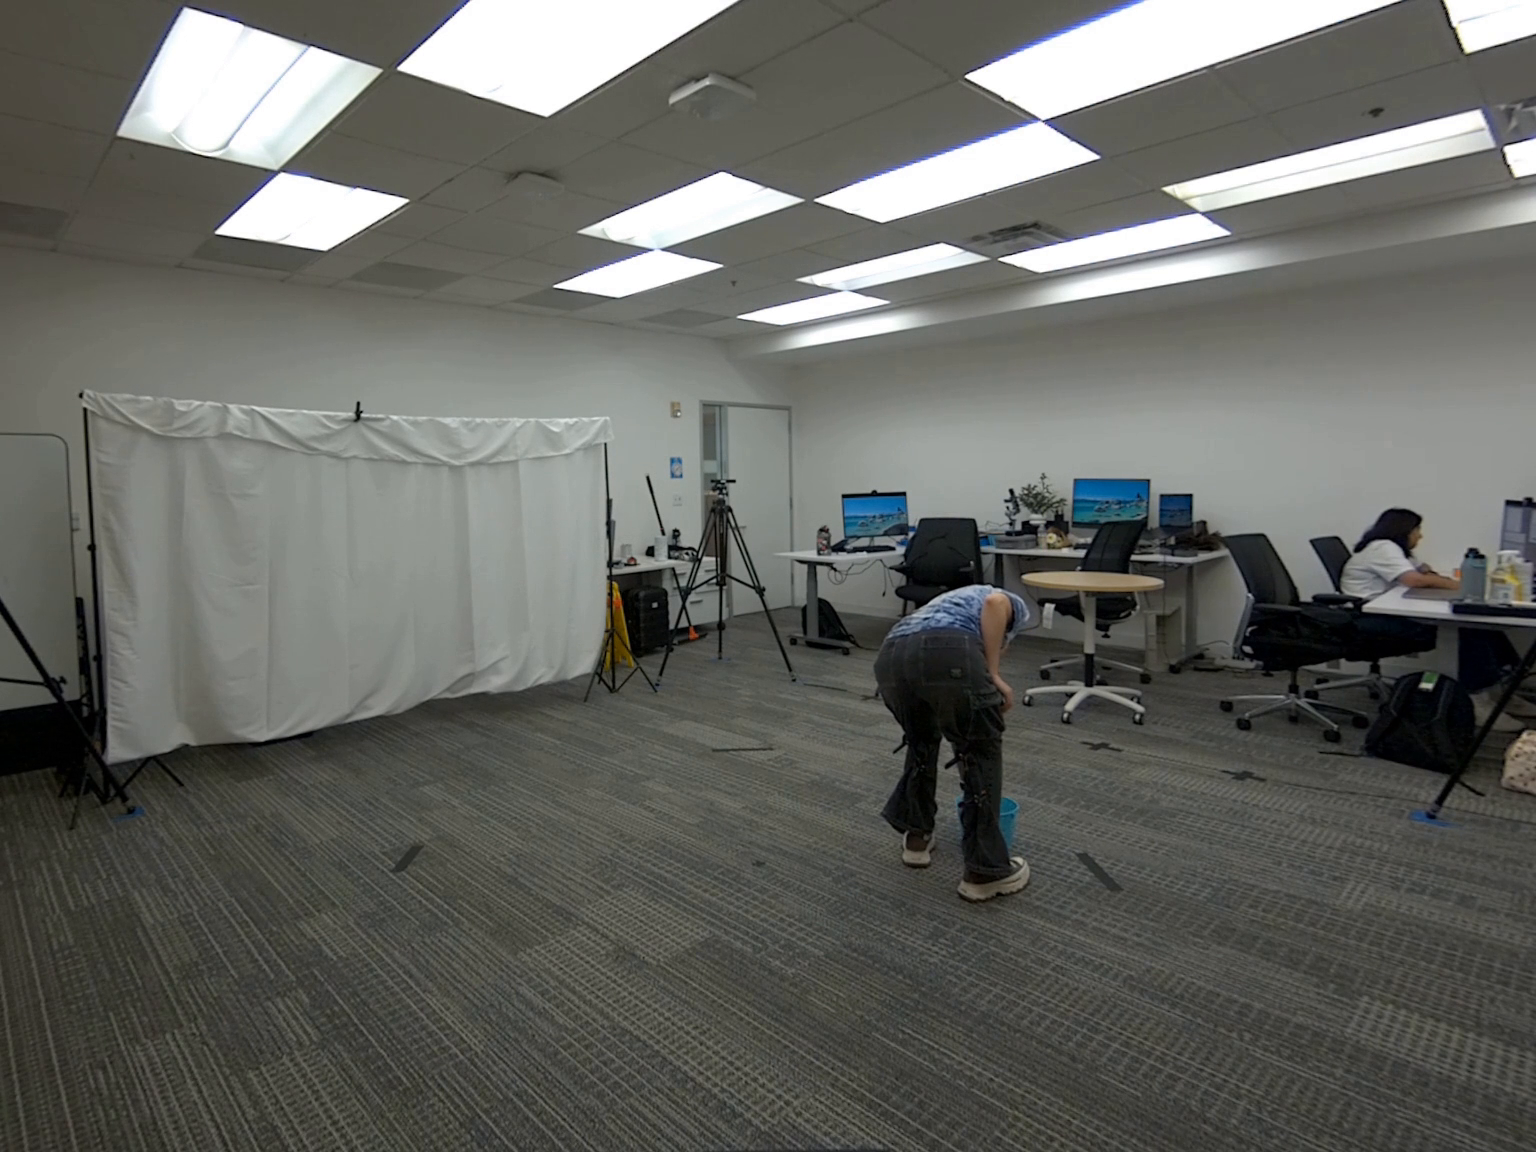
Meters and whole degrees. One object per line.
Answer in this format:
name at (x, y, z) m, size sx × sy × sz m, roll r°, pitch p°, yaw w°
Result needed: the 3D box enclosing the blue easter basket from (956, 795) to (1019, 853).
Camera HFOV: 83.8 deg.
blue easter basket at (0.833, 0.938, 3.253) m, size 0.243 × 0.155 × 0.244 m, roll -1°, pitch 4°, yaw -2°
